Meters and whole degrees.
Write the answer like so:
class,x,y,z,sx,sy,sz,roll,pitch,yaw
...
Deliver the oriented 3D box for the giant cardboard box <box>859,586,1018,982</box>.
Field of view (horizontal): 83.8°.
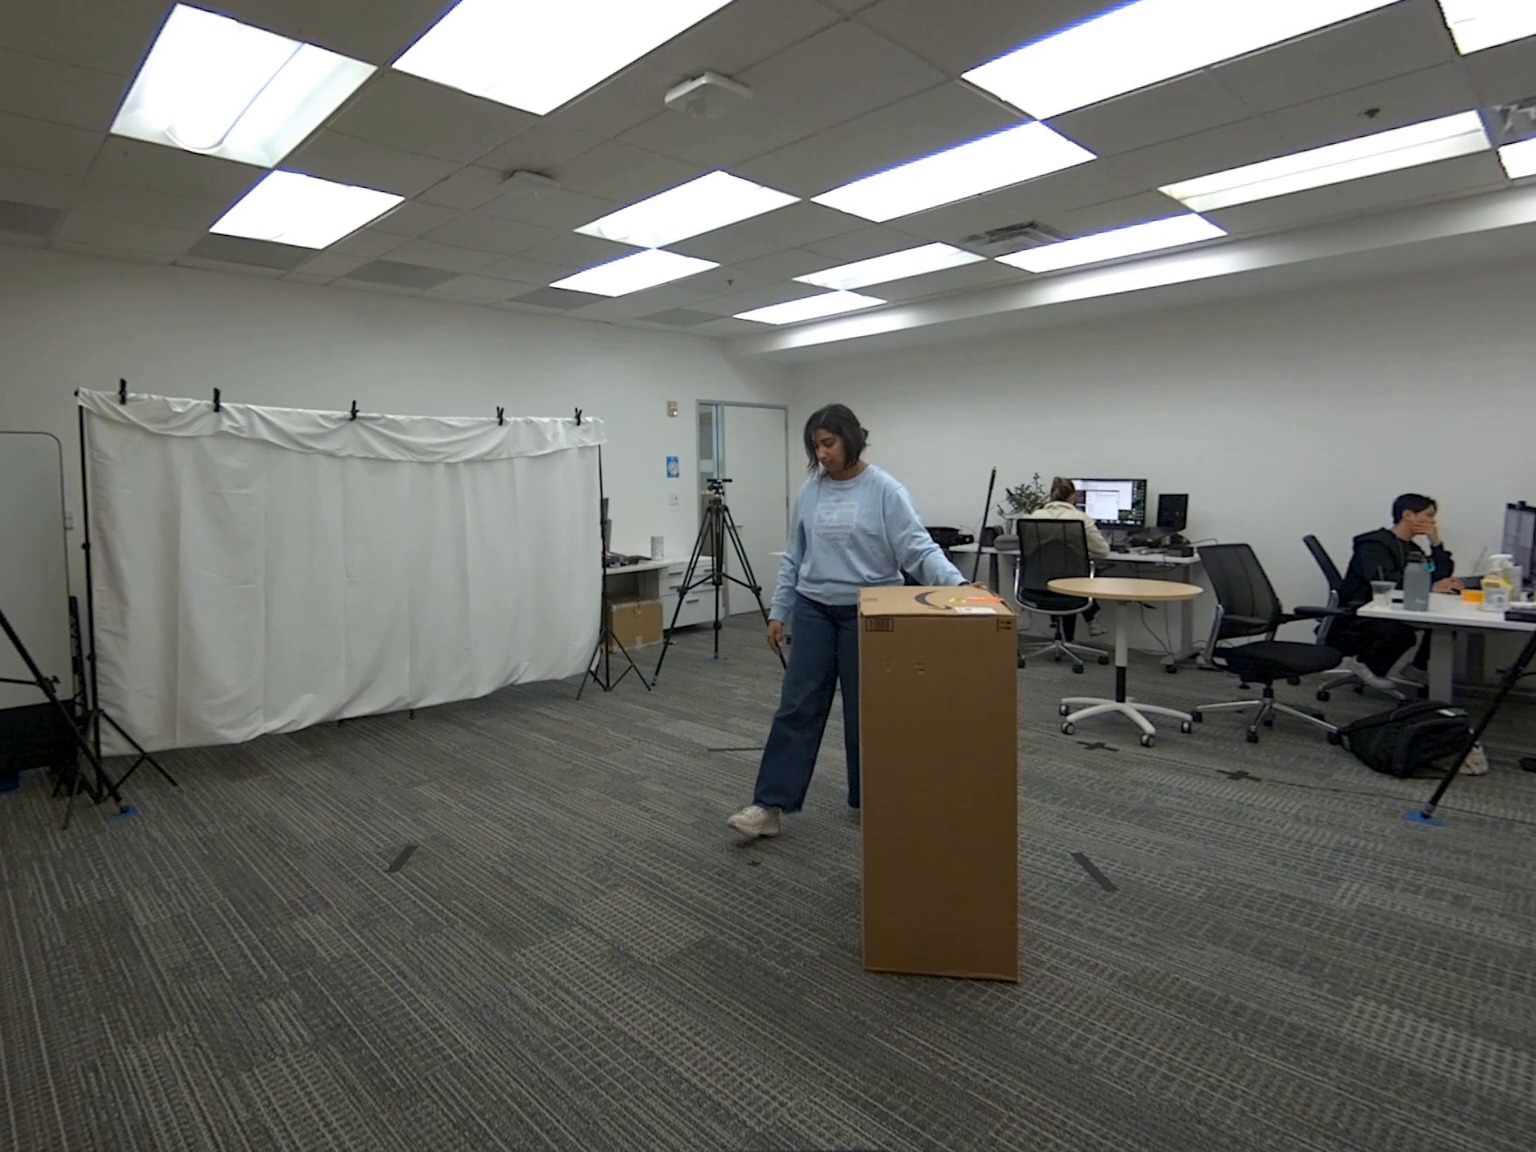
class,x,y,z,sx,sy,sz,roll,pitch,yaw
giant cardboard box,0.508,0.584,2.629,0.430,1.022,0.575,-1,4,8
